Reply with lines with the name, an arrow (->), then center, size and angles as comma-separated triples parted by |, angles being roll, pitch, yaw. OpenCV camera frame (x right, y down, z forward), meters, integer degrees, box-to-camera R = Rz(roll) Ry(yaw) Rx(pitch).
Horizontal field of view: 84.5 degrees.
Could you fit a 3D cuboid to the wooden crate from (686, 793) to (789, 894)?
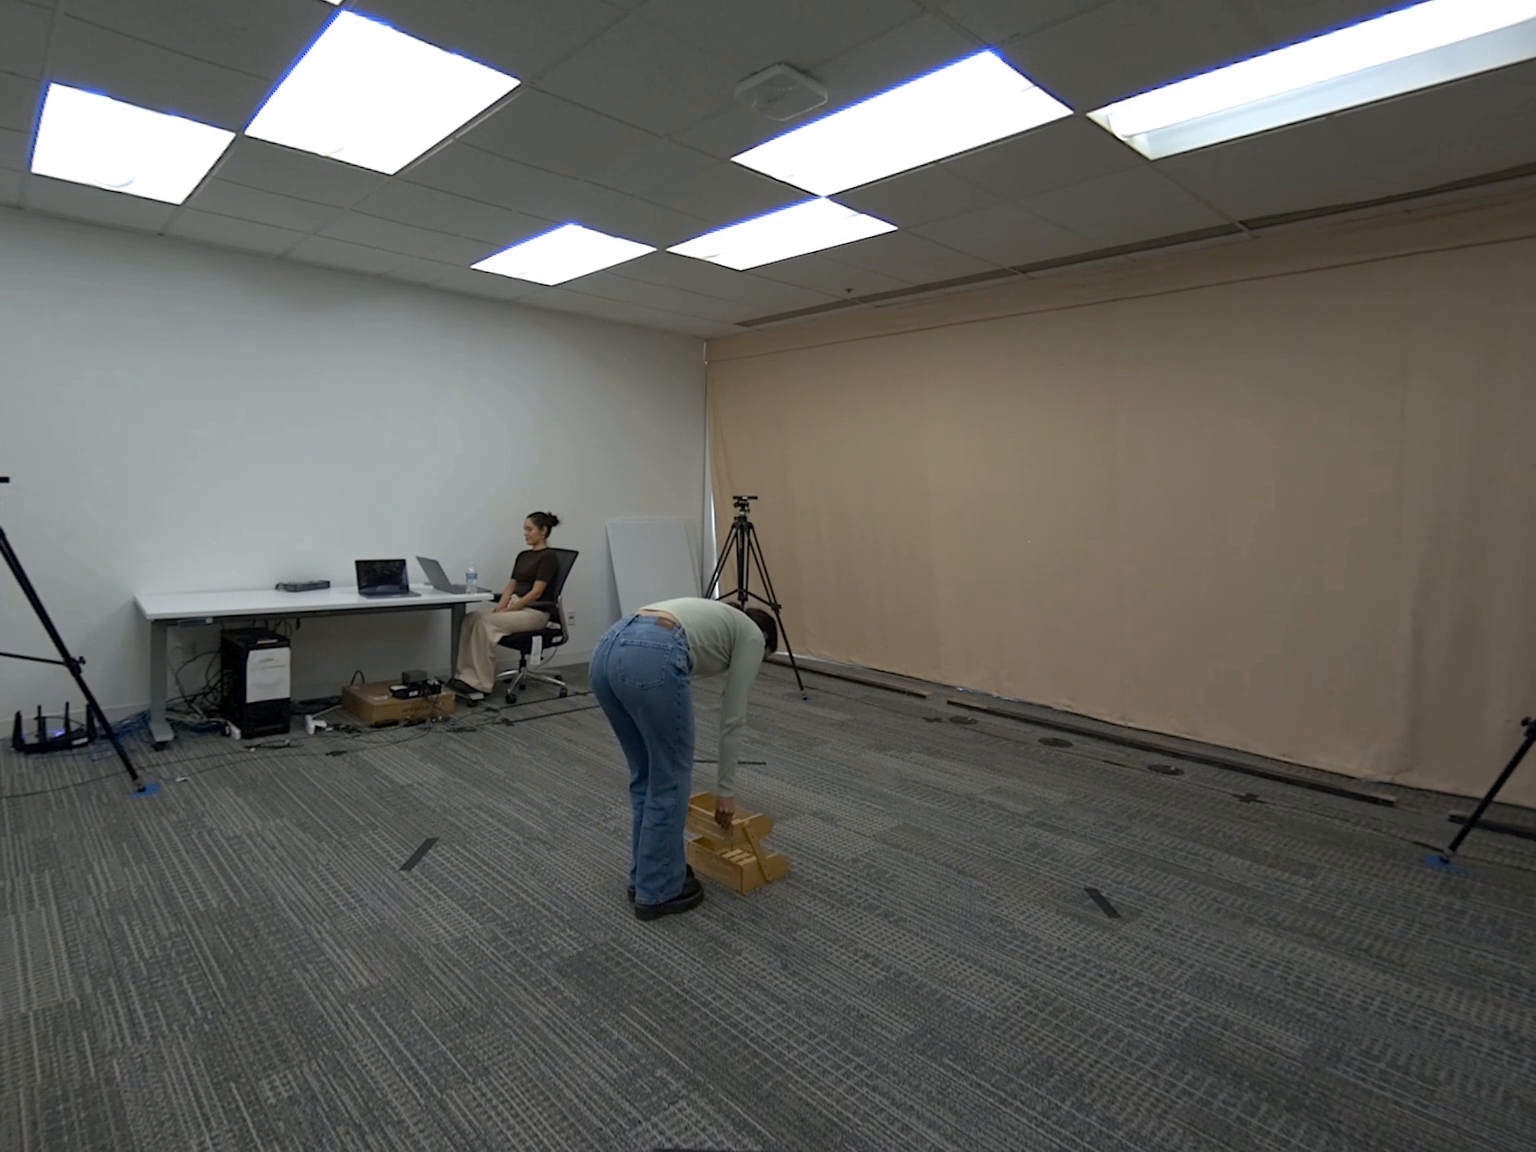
wooden crate -> -0.132, 0.966, 3.129 | 0.295, 0.272, 0.333 | -4, 7, -45
